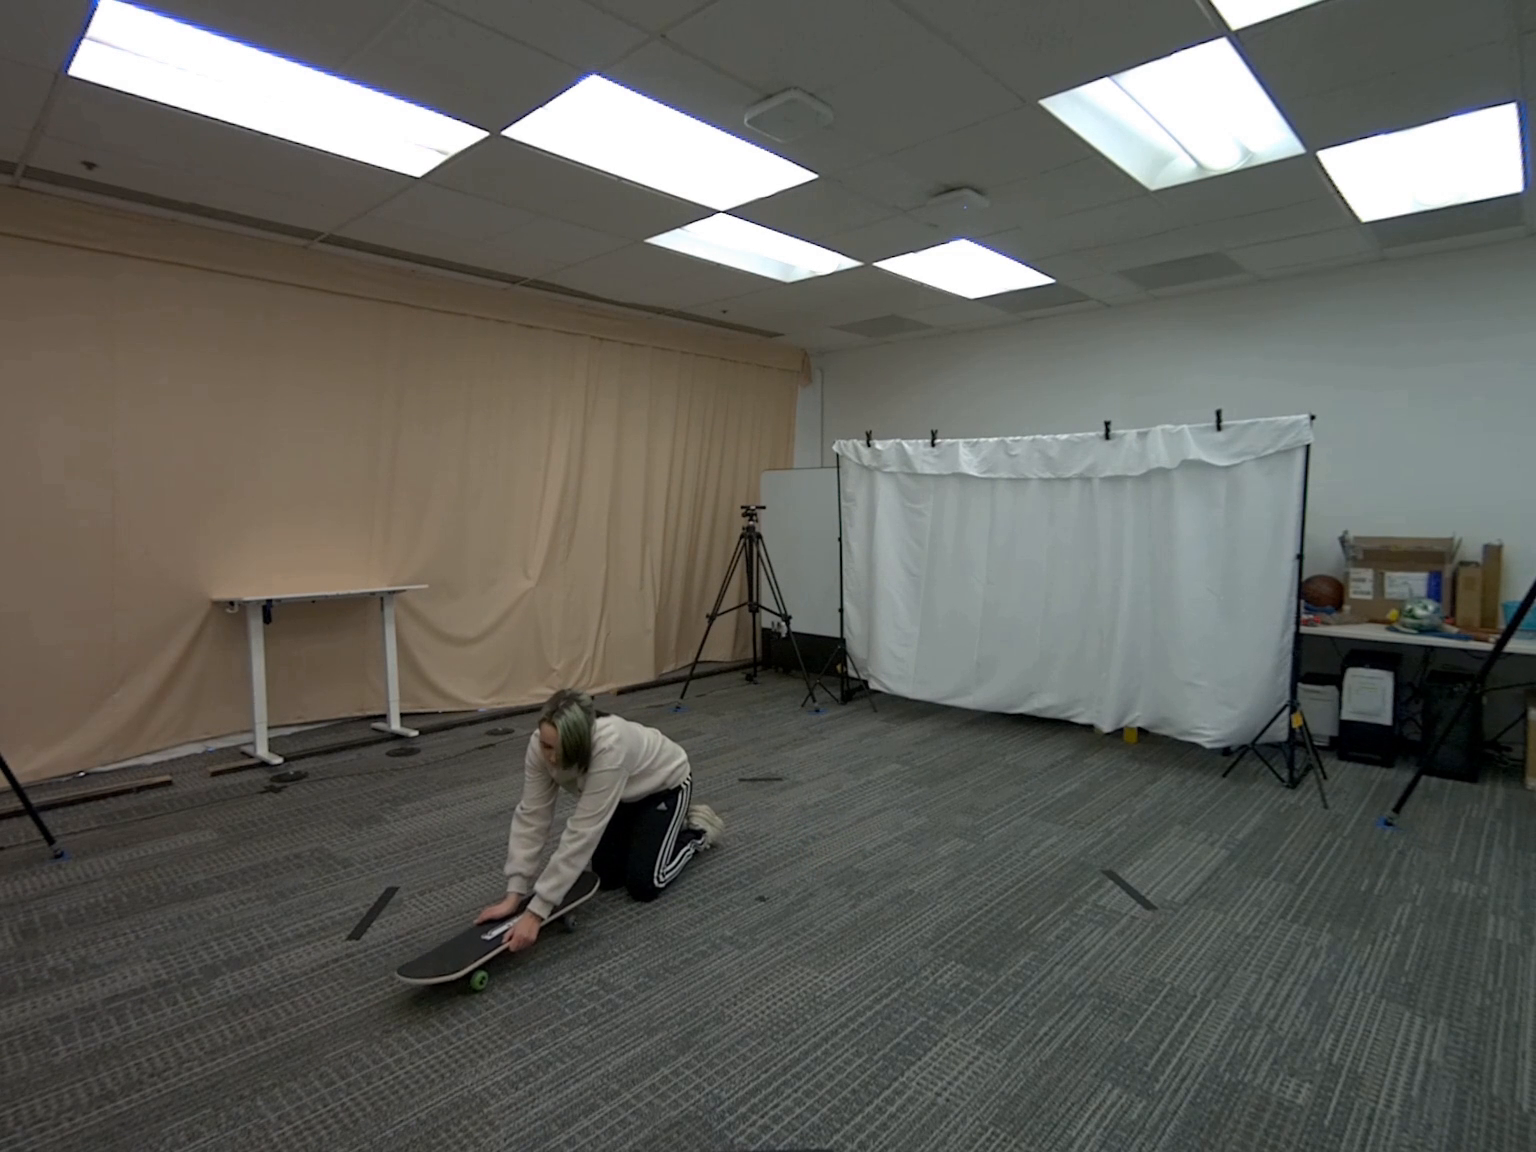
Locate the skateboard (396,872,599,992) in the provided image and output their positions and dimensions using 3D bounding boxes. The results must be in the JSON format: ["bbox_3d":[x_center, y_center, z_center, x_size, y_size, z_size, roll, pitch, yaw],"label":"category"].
[{"bbox_3d":[-0.805,1.119,2.626,0.199,0.110,0.765,-3,2,29],"label":"skateboard"}]
